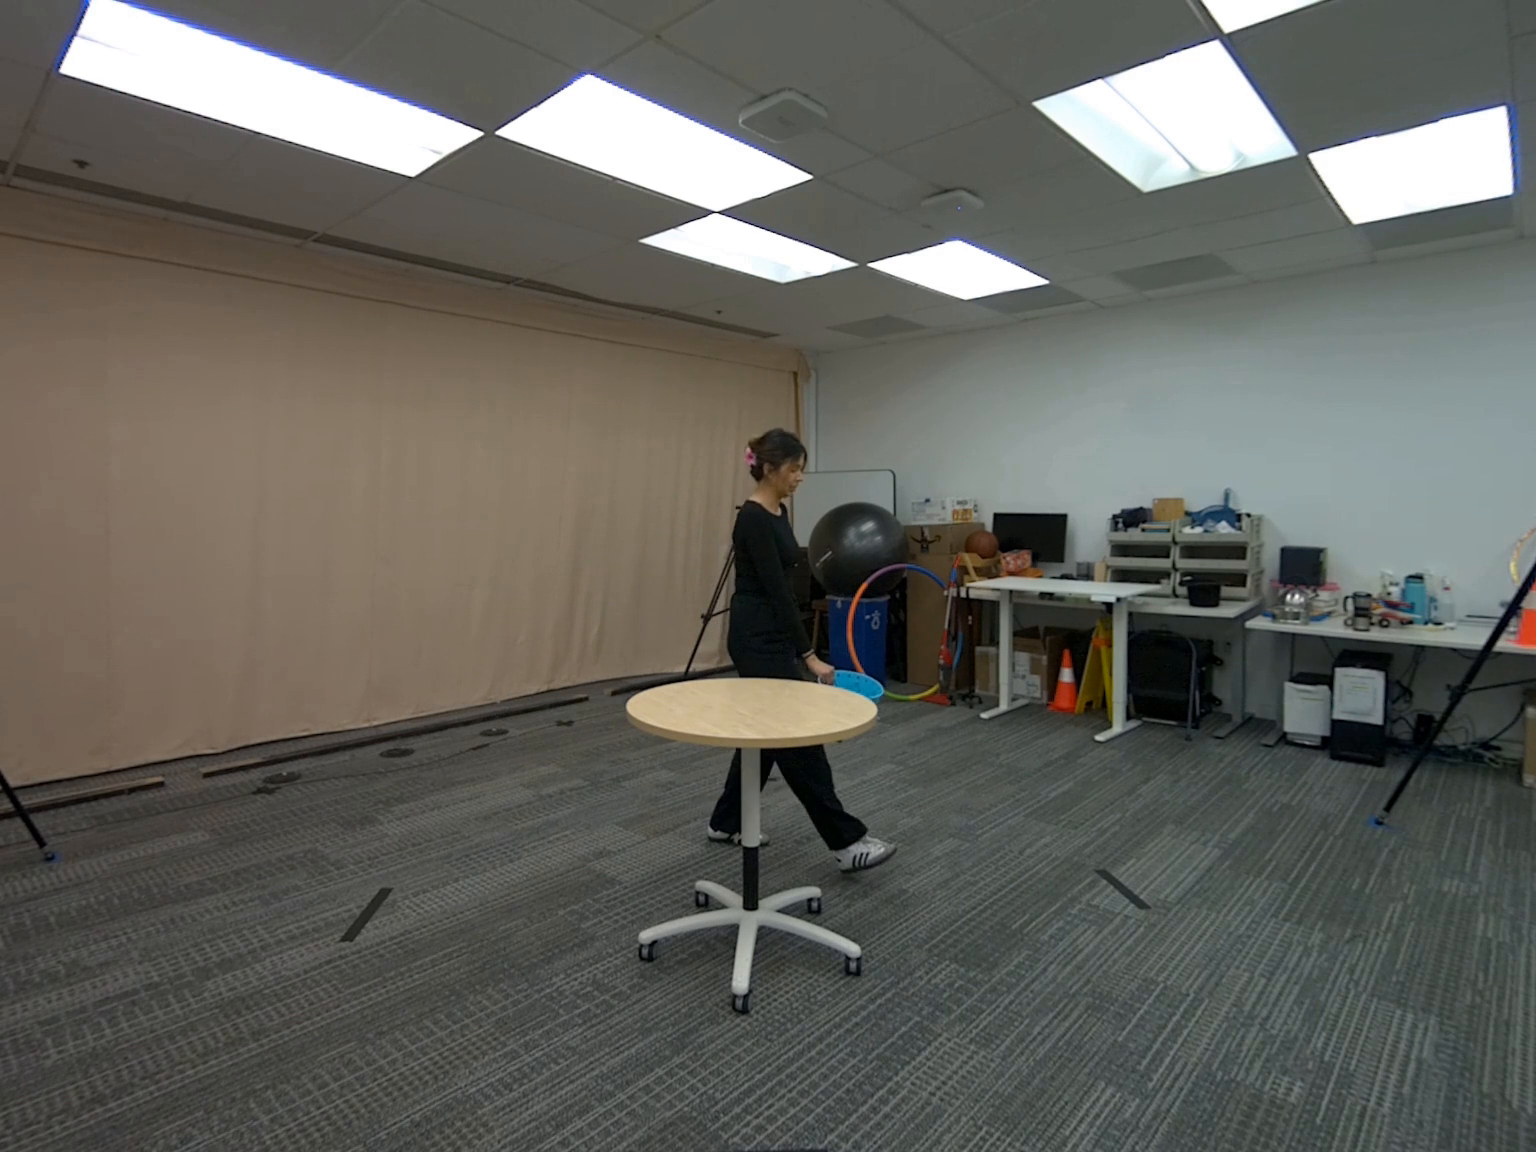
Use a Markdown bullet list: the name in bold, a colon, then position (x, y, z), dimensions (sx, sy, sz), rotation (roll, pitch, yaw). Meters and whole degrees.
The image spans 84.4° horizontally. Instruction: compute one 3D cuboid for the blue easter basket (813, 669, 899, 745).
- **blue easter basket**: position (0.308, 0.461, 3.035), dimensions (0.243, 0.155, 0.246), rotation (6, 16, -4)
